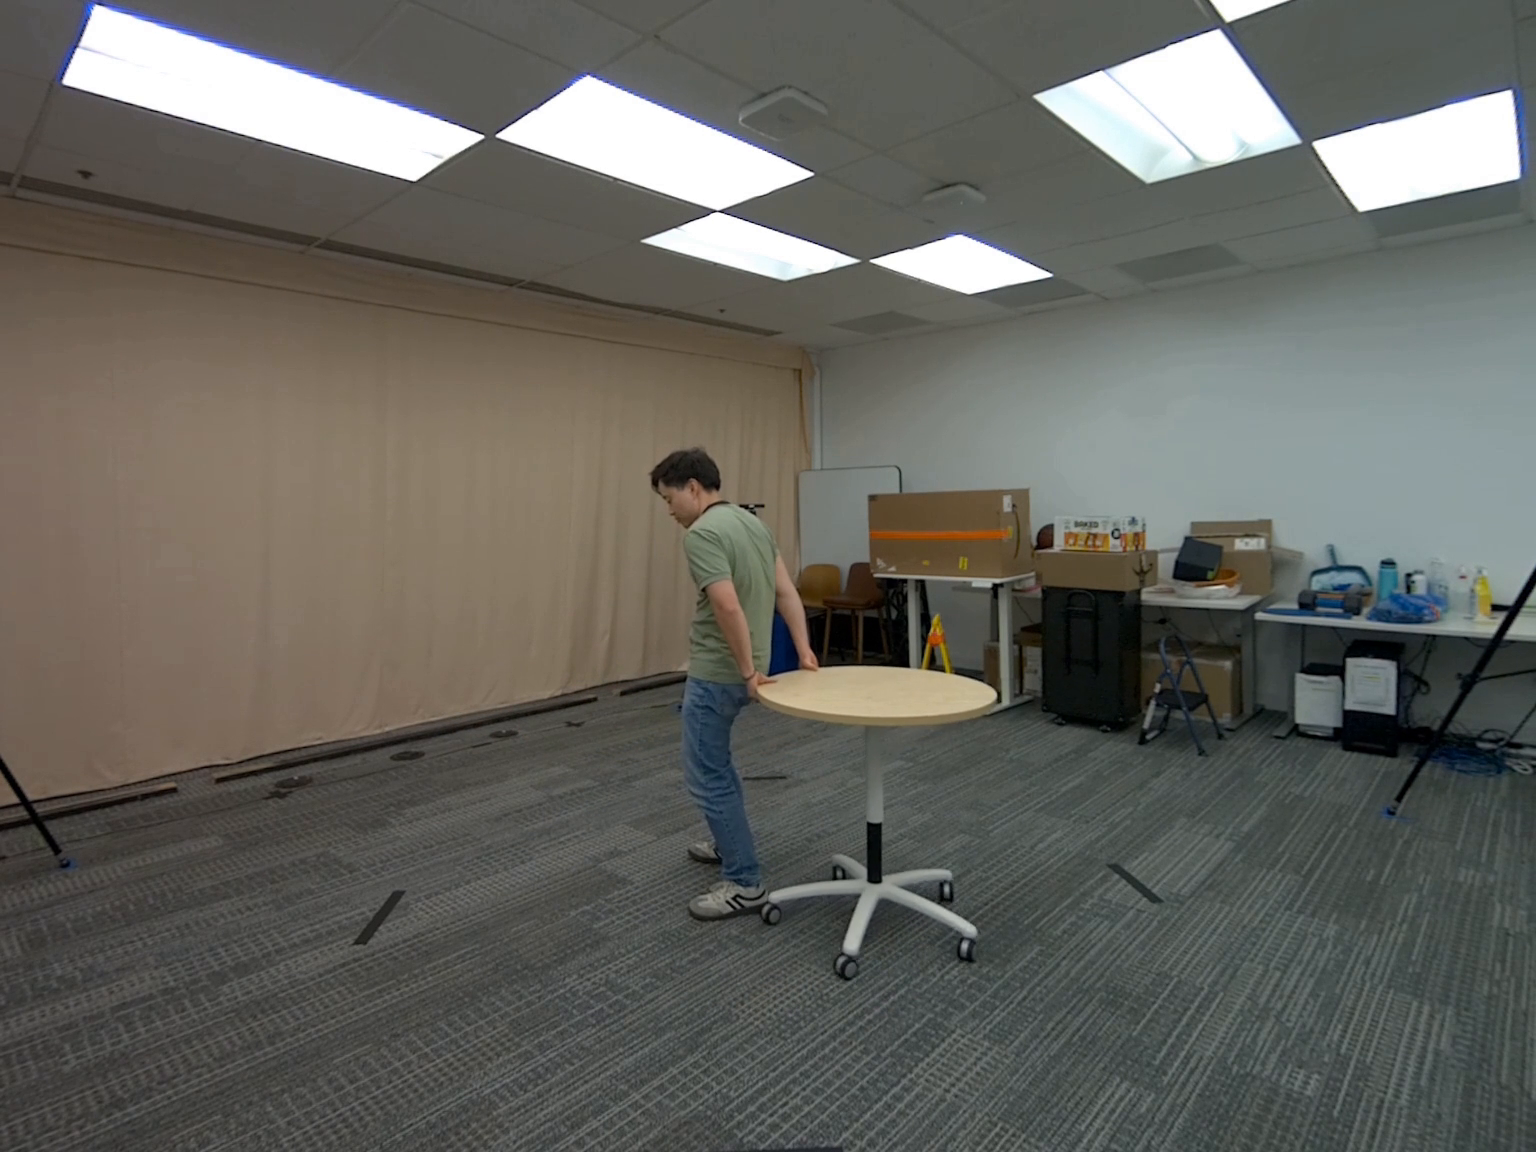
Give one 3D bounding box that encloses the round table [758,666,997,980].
[{"bbox_3d":[0.350,0.761,2.773,0.763,0.792,0.766,-1,4,-2],"label":"round table"}]
